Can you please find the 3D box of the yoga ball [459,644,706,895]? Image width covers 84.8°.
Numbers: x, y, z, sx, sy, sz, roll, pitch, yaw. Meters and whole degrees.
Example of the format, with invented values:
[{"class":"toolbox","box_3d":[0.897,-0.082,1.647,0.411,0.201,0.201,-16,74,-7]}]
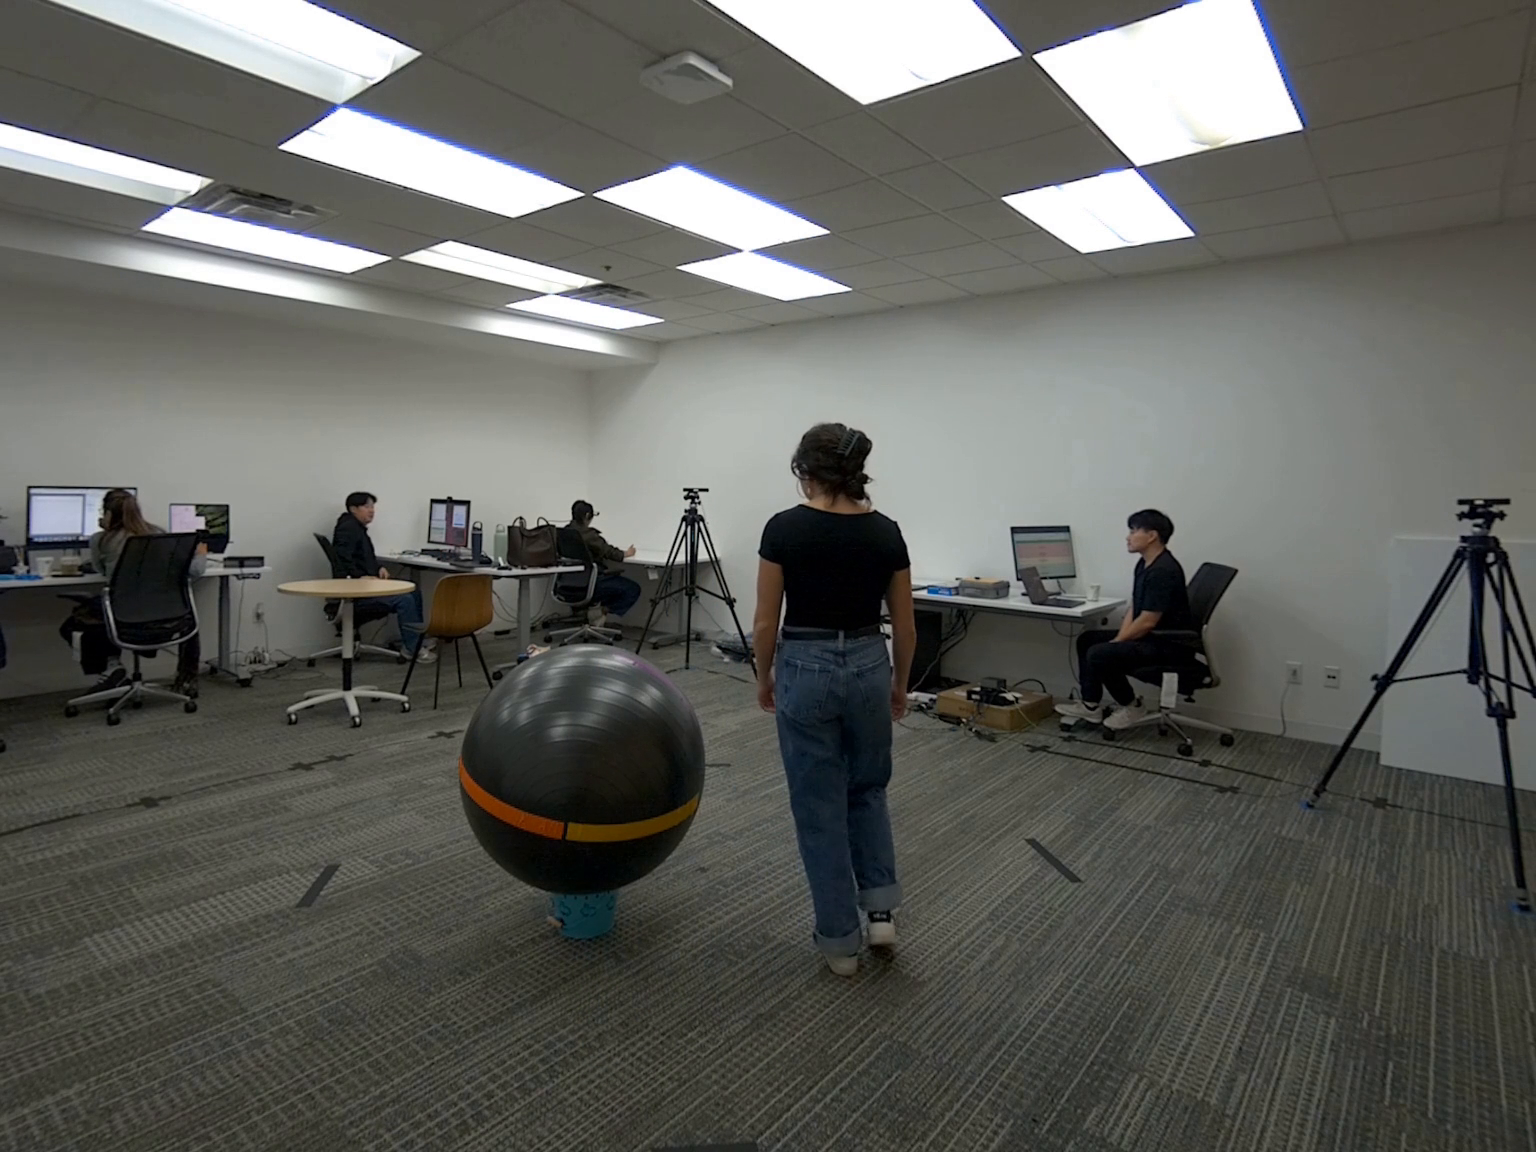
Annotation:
[{"class":"yoga ball","box_3d":[-0.585,0.595,2.672,0.757,0.755,0.762,1,4,-2]}]
